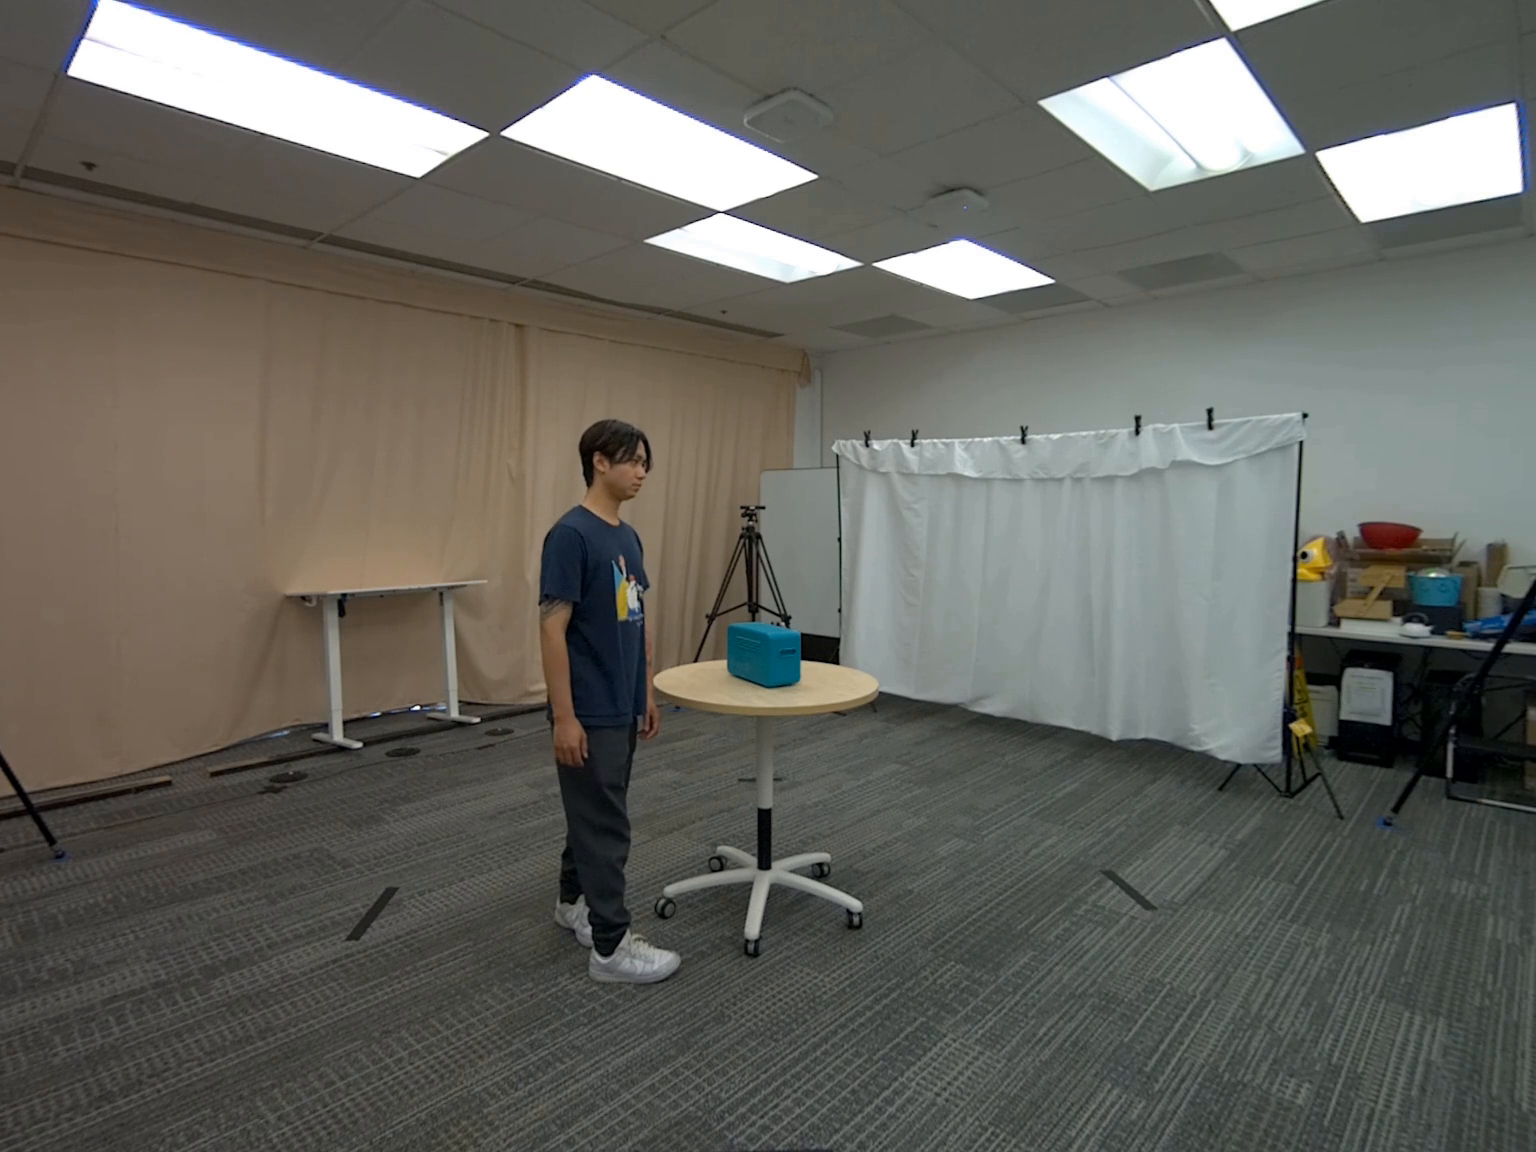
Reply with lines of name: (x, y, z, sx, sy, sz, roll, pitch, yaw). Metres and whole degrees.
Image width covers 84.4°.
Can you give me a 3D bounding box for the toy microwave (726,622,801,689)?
toy microwave: (-0.005, 0.263, 2.871, 0.148, 0.184, 0.294, -1, 4, -30)
